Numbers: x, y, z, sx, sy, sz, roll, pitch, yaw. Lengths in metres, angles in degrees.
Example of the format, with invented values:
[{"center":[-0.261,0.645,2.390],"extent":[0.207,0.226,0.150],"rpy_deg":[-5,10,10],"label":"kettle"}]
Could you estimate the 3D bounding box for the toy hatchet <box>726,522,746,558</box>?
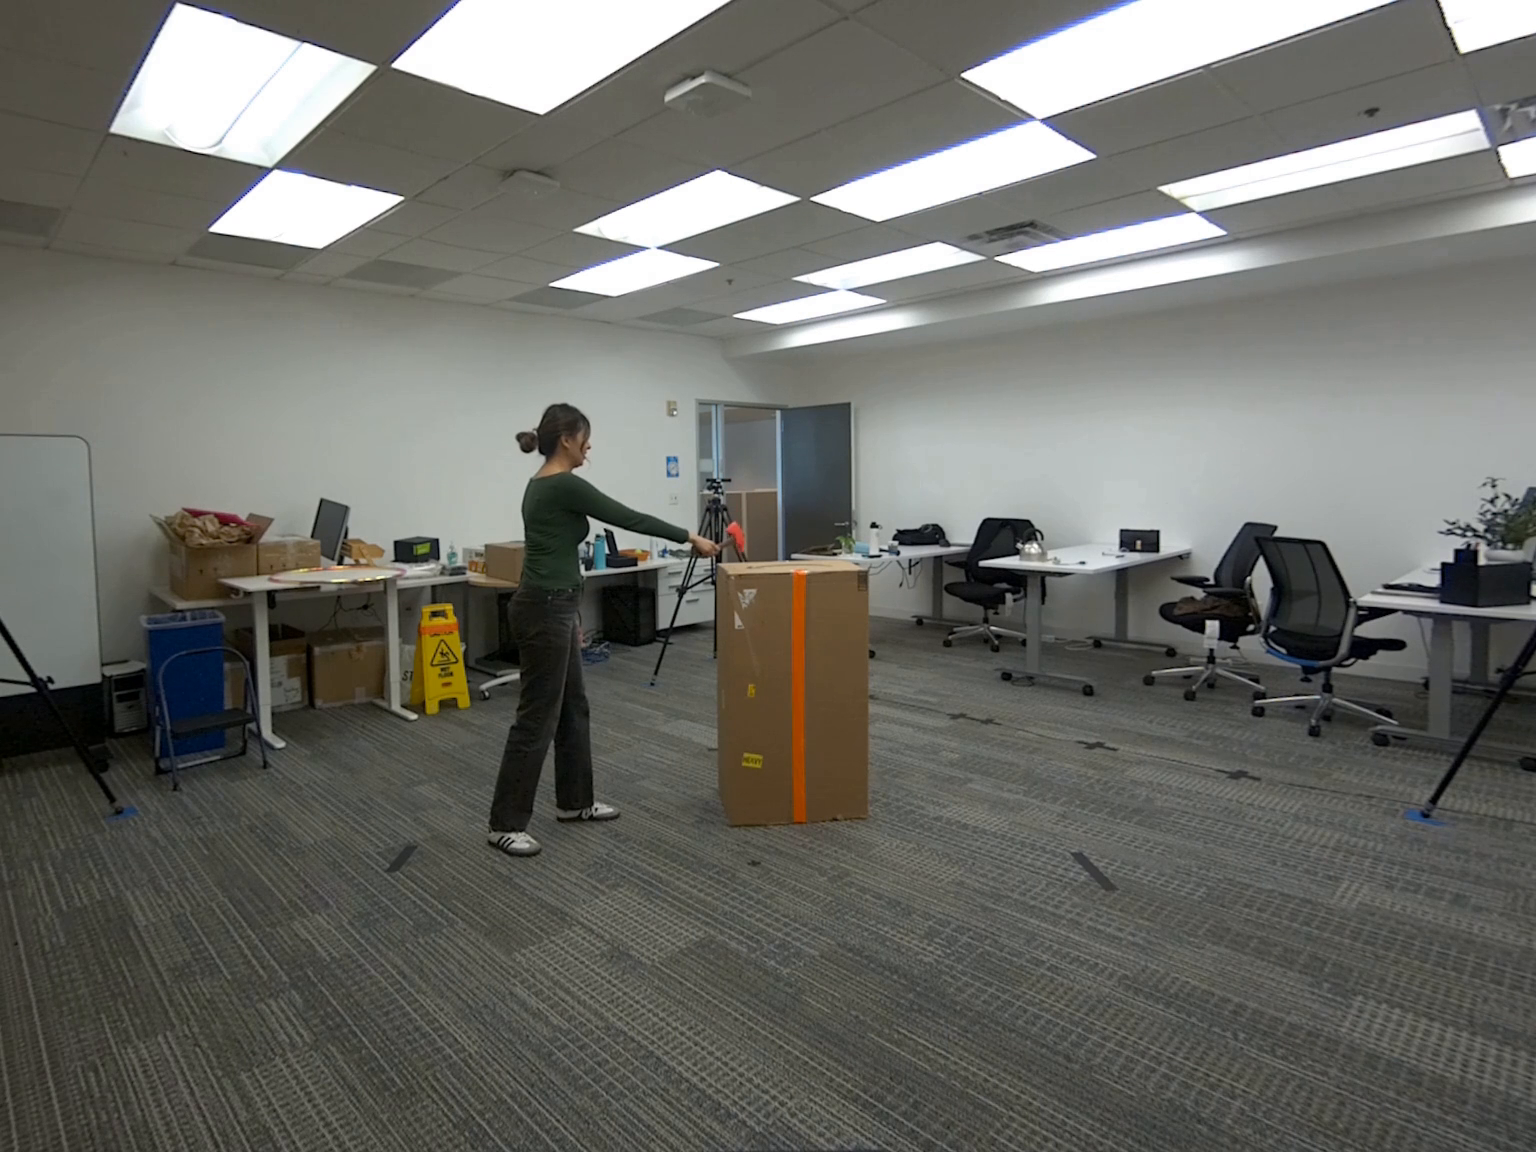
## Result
[{"center":[-0.213,-0.162,3.549],"extent":[0.263,0.130,0.030],"rpy_deg":[-4,13,-34],"label":"toy hatchet"}]
